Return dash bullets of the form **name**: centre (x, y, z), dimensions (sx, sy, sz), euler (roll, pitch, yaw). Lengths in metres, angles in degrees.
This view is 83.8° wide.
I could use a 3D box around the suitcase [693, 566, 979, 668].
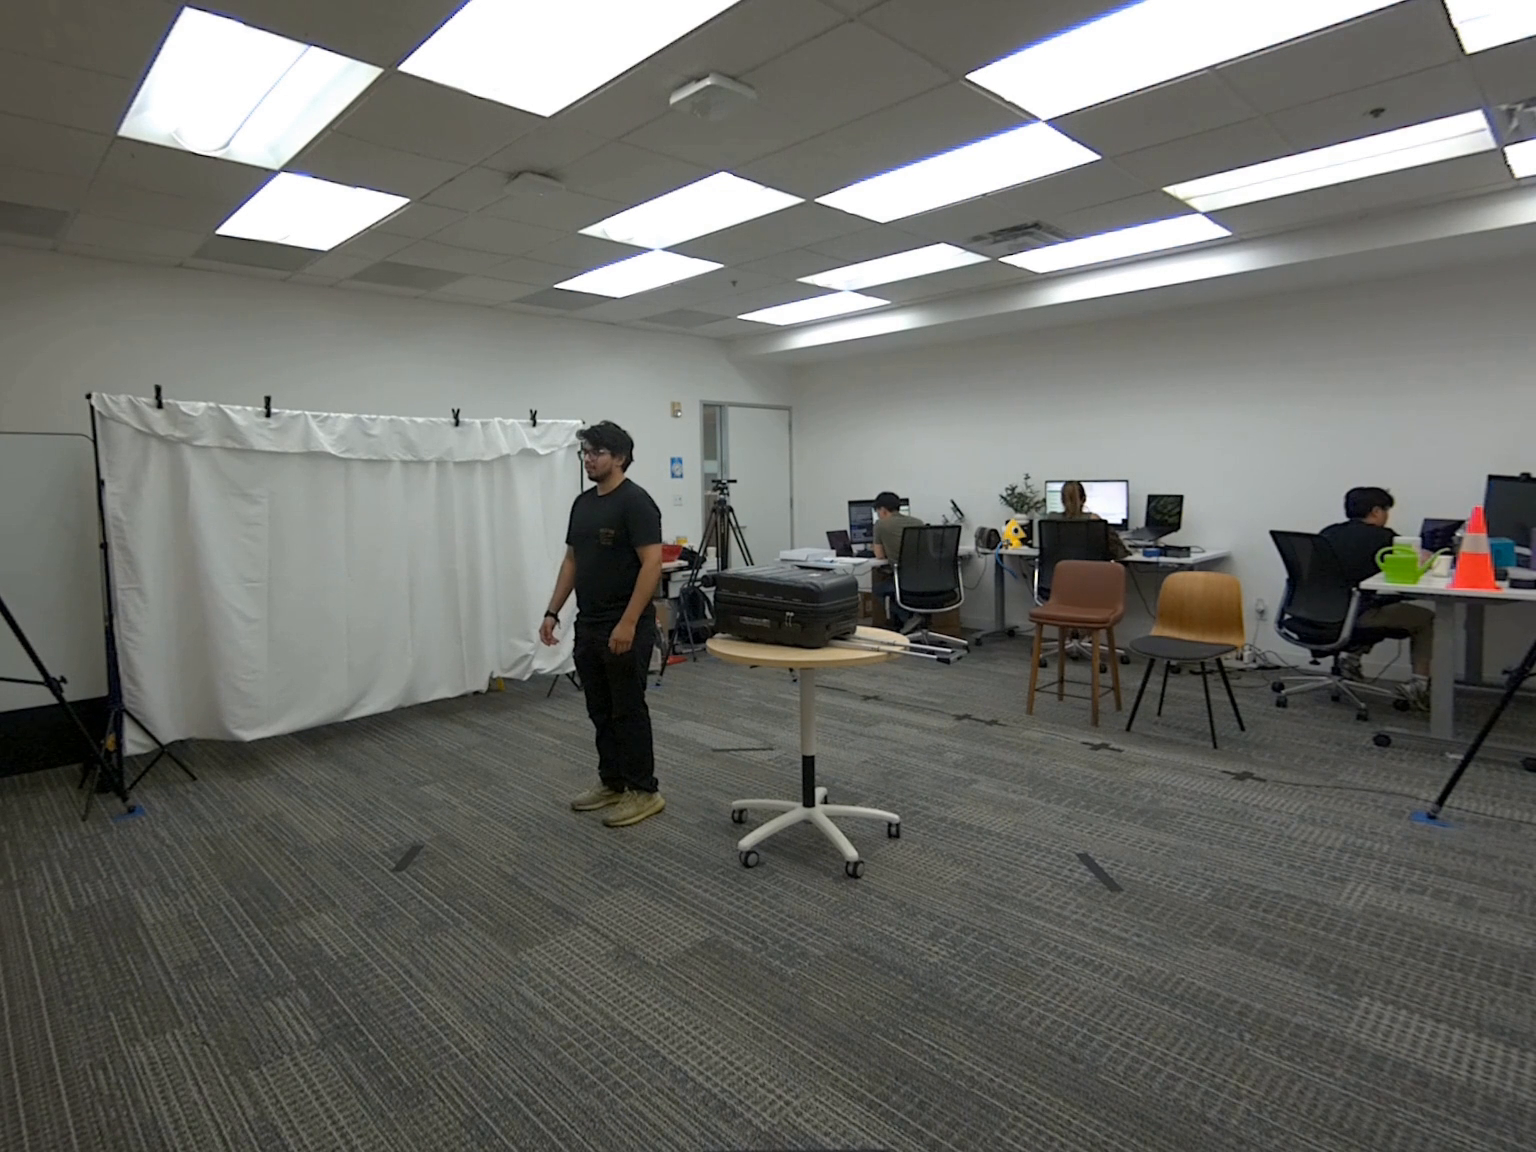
- **suitcase**: centre (0.229, 0.124, 3.171), dimensions (1.007, 0.256, 0.374), euler (3, 6, 35)
